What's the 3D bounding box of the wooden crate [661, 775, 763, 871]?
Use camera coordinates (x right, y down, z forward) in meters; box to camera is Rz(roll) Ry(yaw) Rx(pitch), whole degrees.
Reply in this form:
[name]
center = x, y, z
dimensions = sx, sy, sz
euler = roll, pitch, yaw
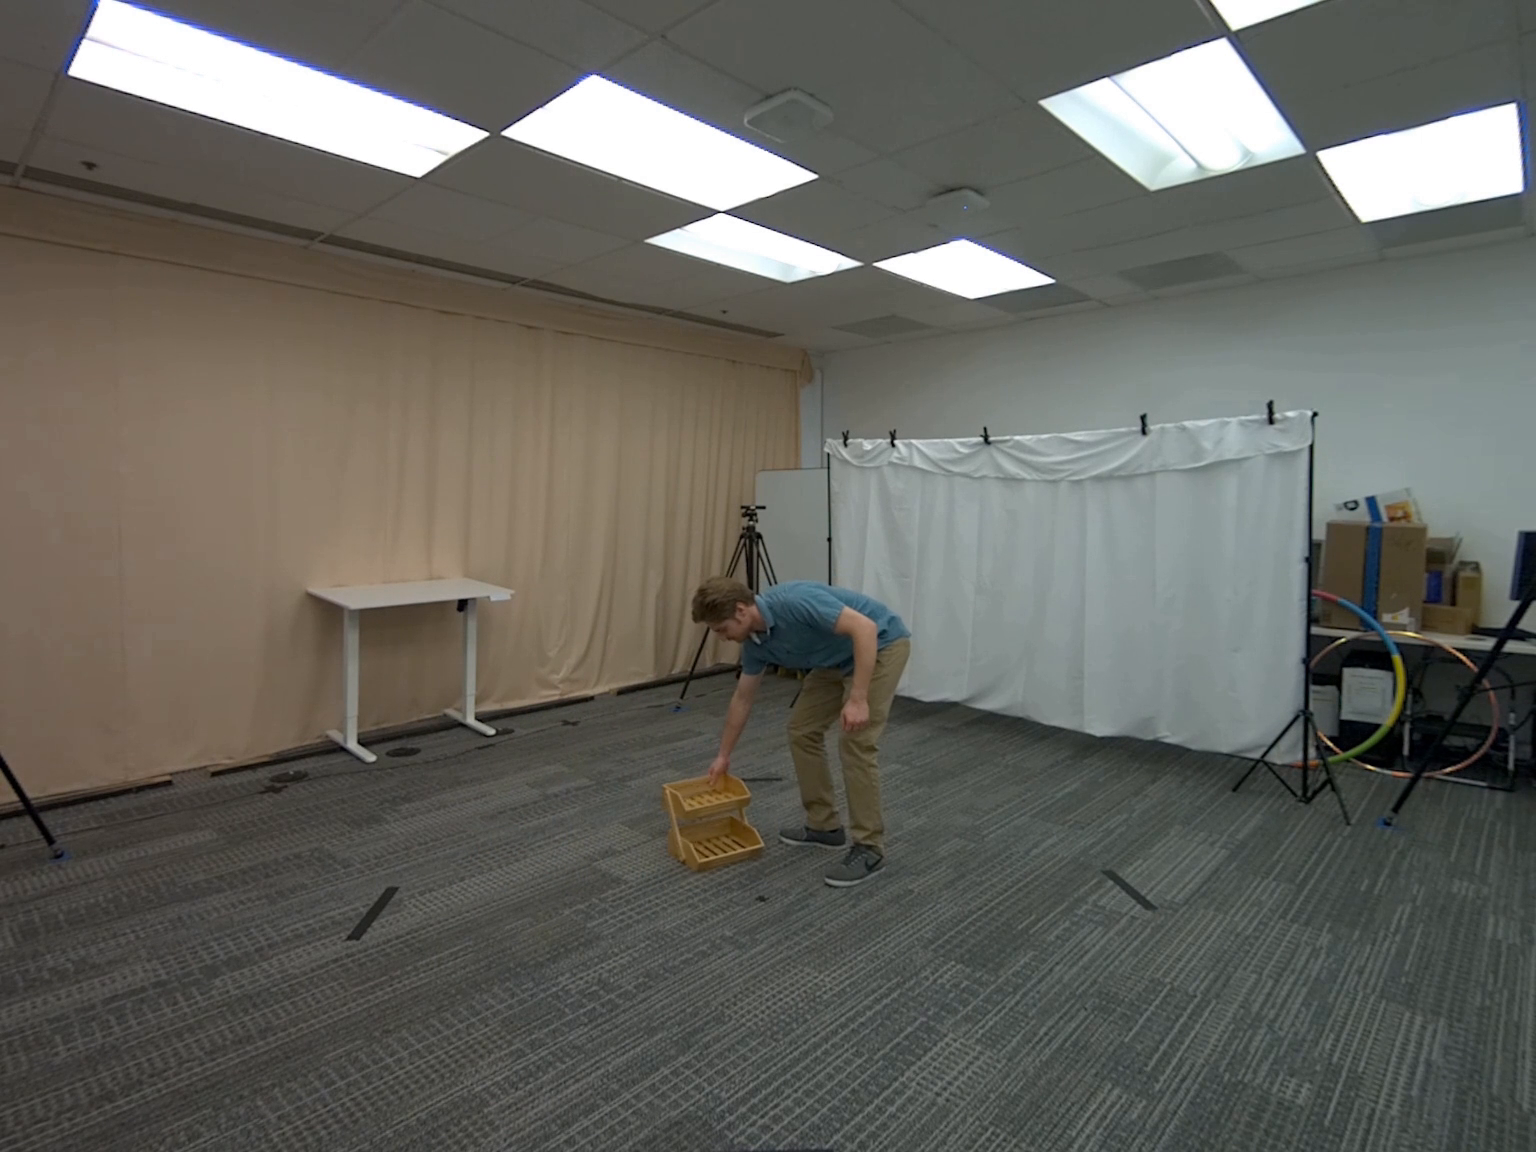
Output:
[wooden crate]
center = -0.222, 0.981, 3.381
dimensions = 0.316, 0.273, 0.311
euler = -4, 4, -30
